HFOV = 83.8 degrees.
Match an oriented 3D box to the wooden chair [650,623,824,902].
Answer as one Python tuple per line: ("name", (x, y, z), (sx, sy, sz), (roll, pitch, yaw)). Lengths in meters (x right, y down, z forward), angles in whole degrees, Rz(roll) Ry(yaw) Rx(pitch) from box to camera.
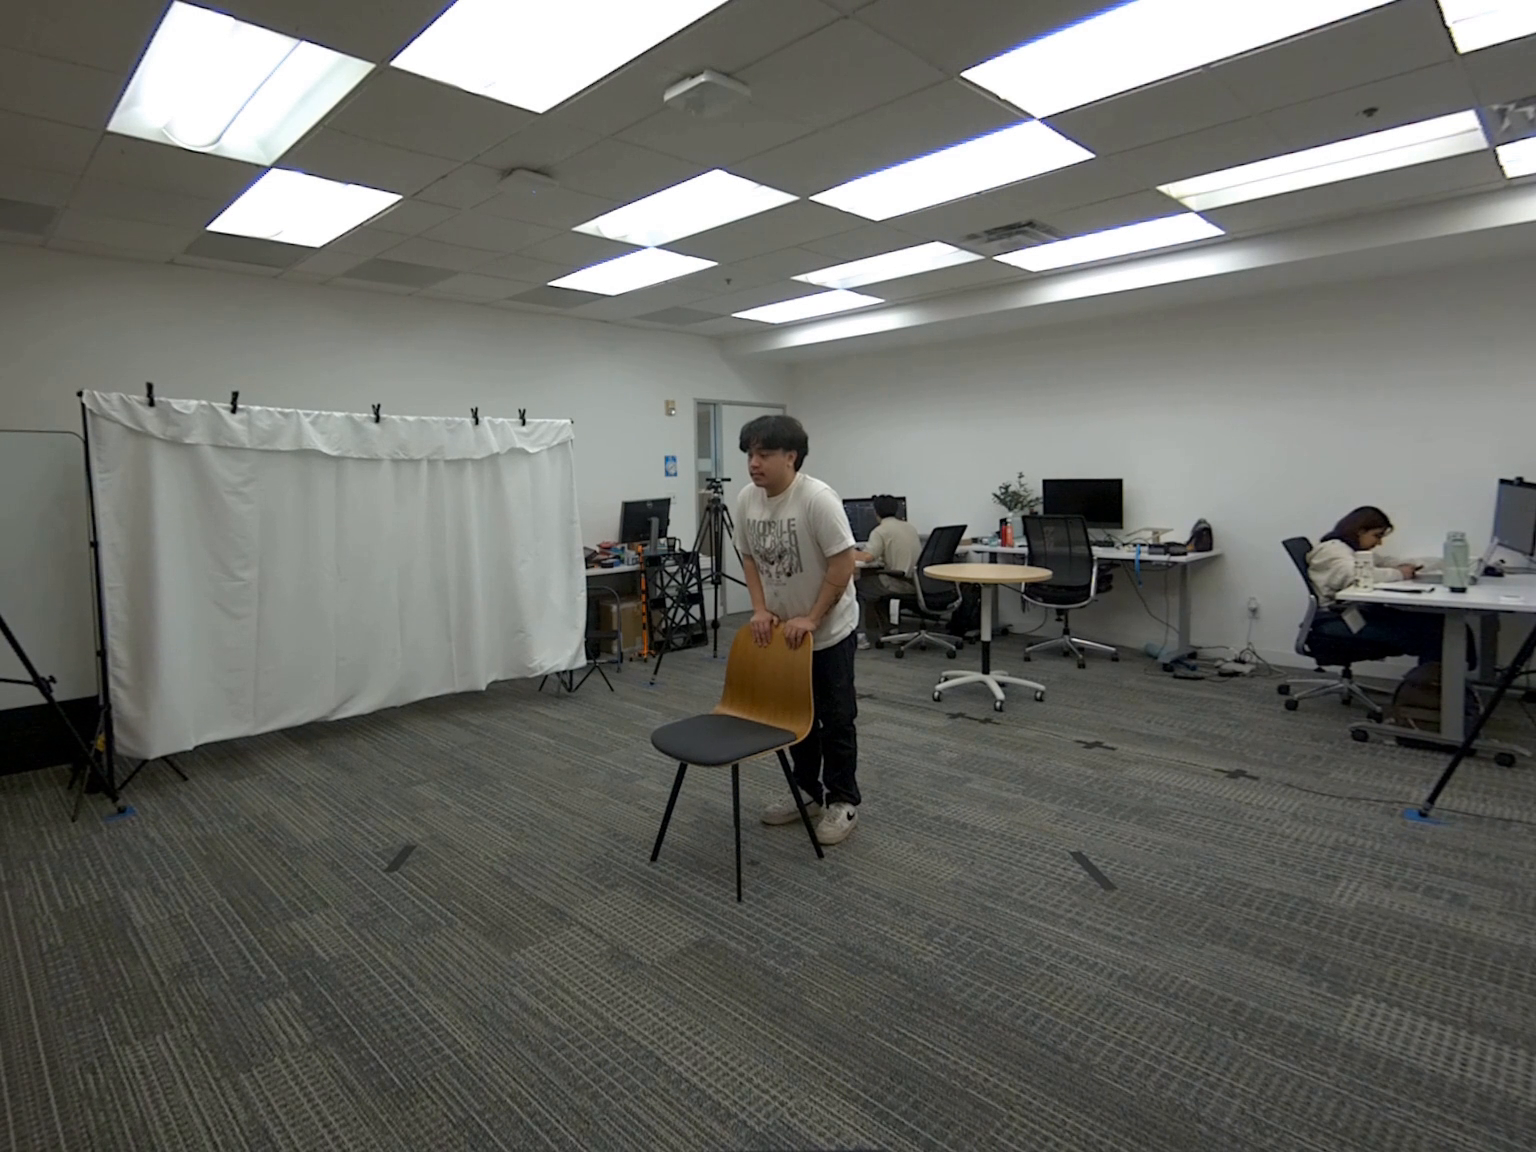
("wooden chair", (-0.123, 0.621, 3.092), (0.493, 0.877, 0.508), (4, 2, 43))
